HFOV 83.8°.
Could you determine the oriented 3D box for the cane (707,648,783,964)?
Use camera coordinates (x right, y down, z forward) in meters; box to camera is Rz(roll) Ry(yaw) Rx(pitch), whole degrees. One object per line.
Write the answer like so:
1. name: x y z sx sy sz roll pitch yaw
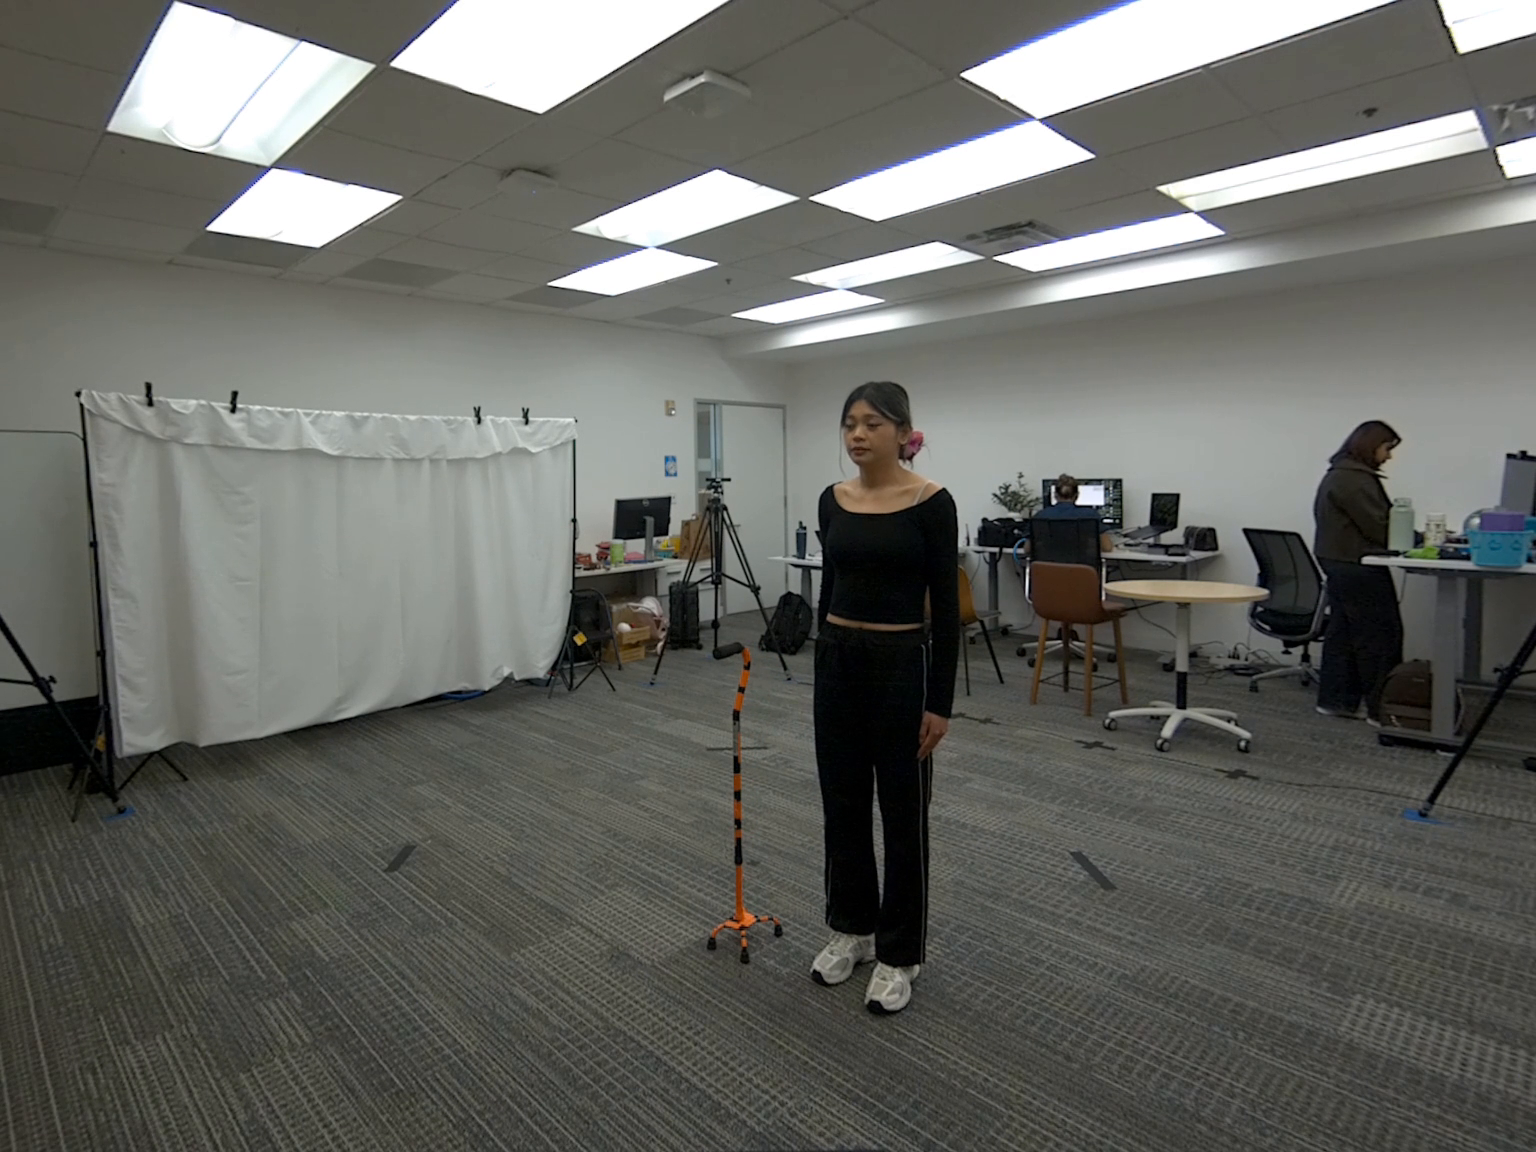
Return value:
1. cane: -0.066 0.652 2.551 0.156 0.905 0.201 2 4 35
